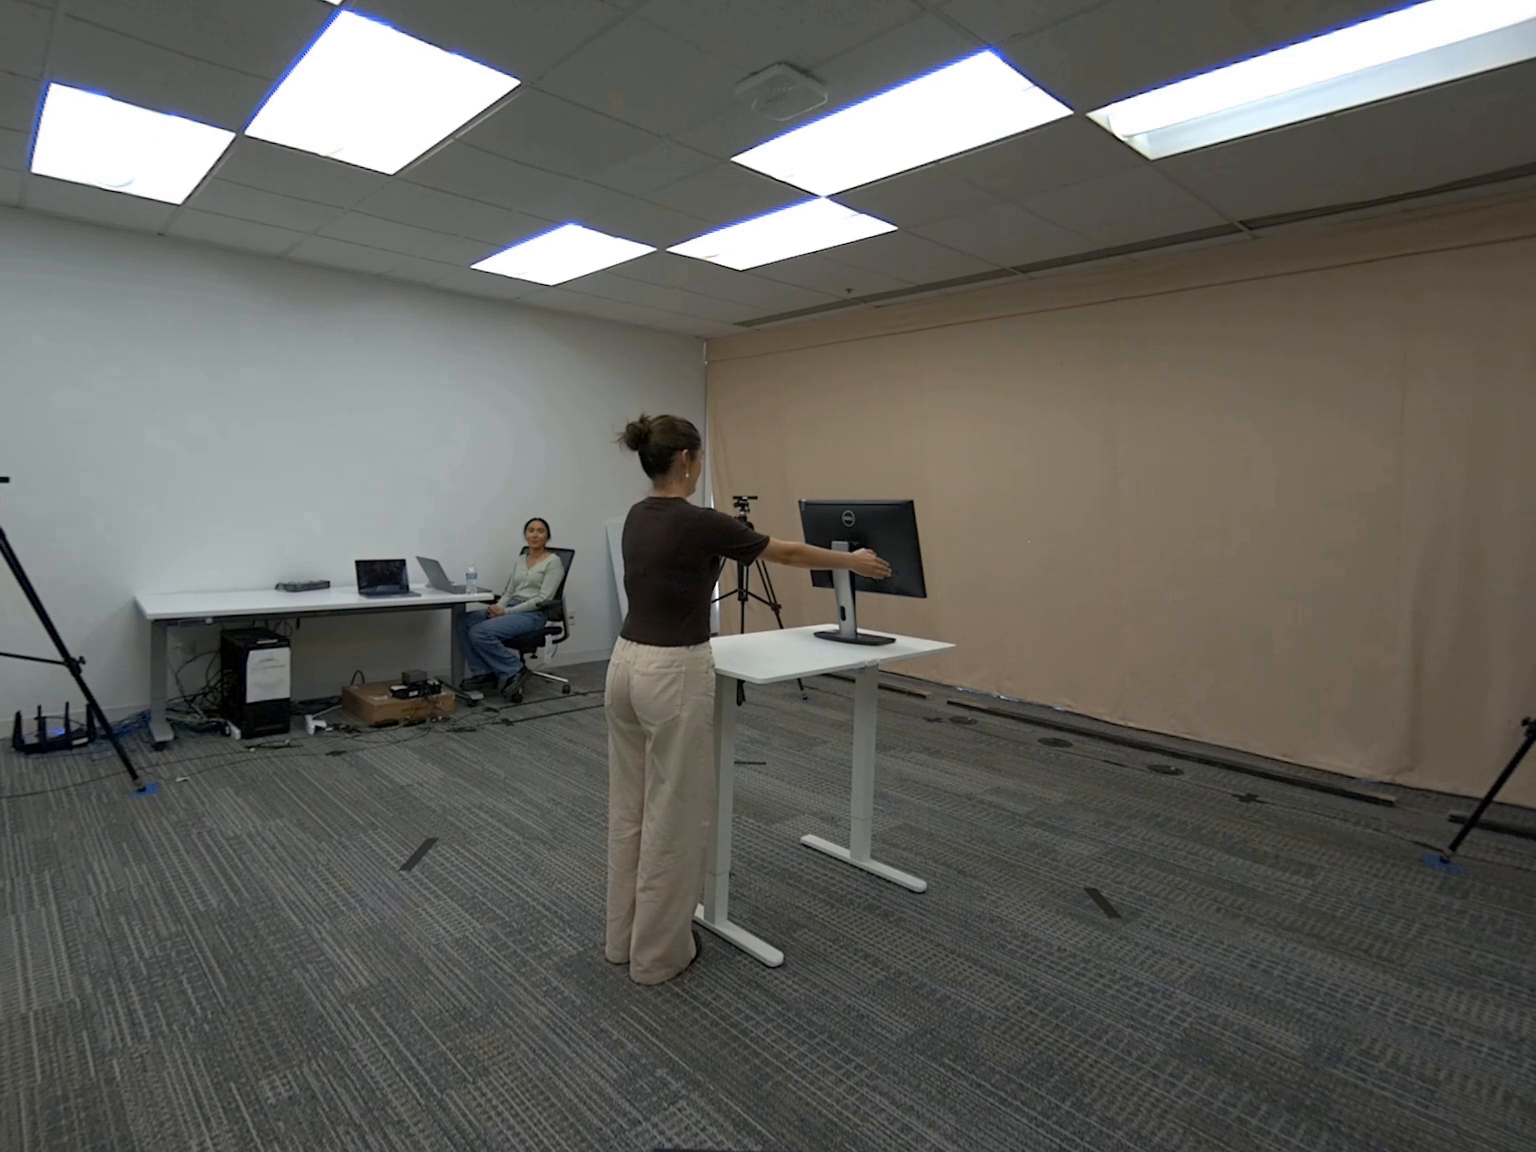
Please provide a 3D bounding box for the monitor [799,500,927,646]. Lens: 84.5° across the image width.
[{"bbox_3d":[0.310,-0.015,3.072,0.183,0.521,0.553,-5,6,-44],"label":"monitor"}]
